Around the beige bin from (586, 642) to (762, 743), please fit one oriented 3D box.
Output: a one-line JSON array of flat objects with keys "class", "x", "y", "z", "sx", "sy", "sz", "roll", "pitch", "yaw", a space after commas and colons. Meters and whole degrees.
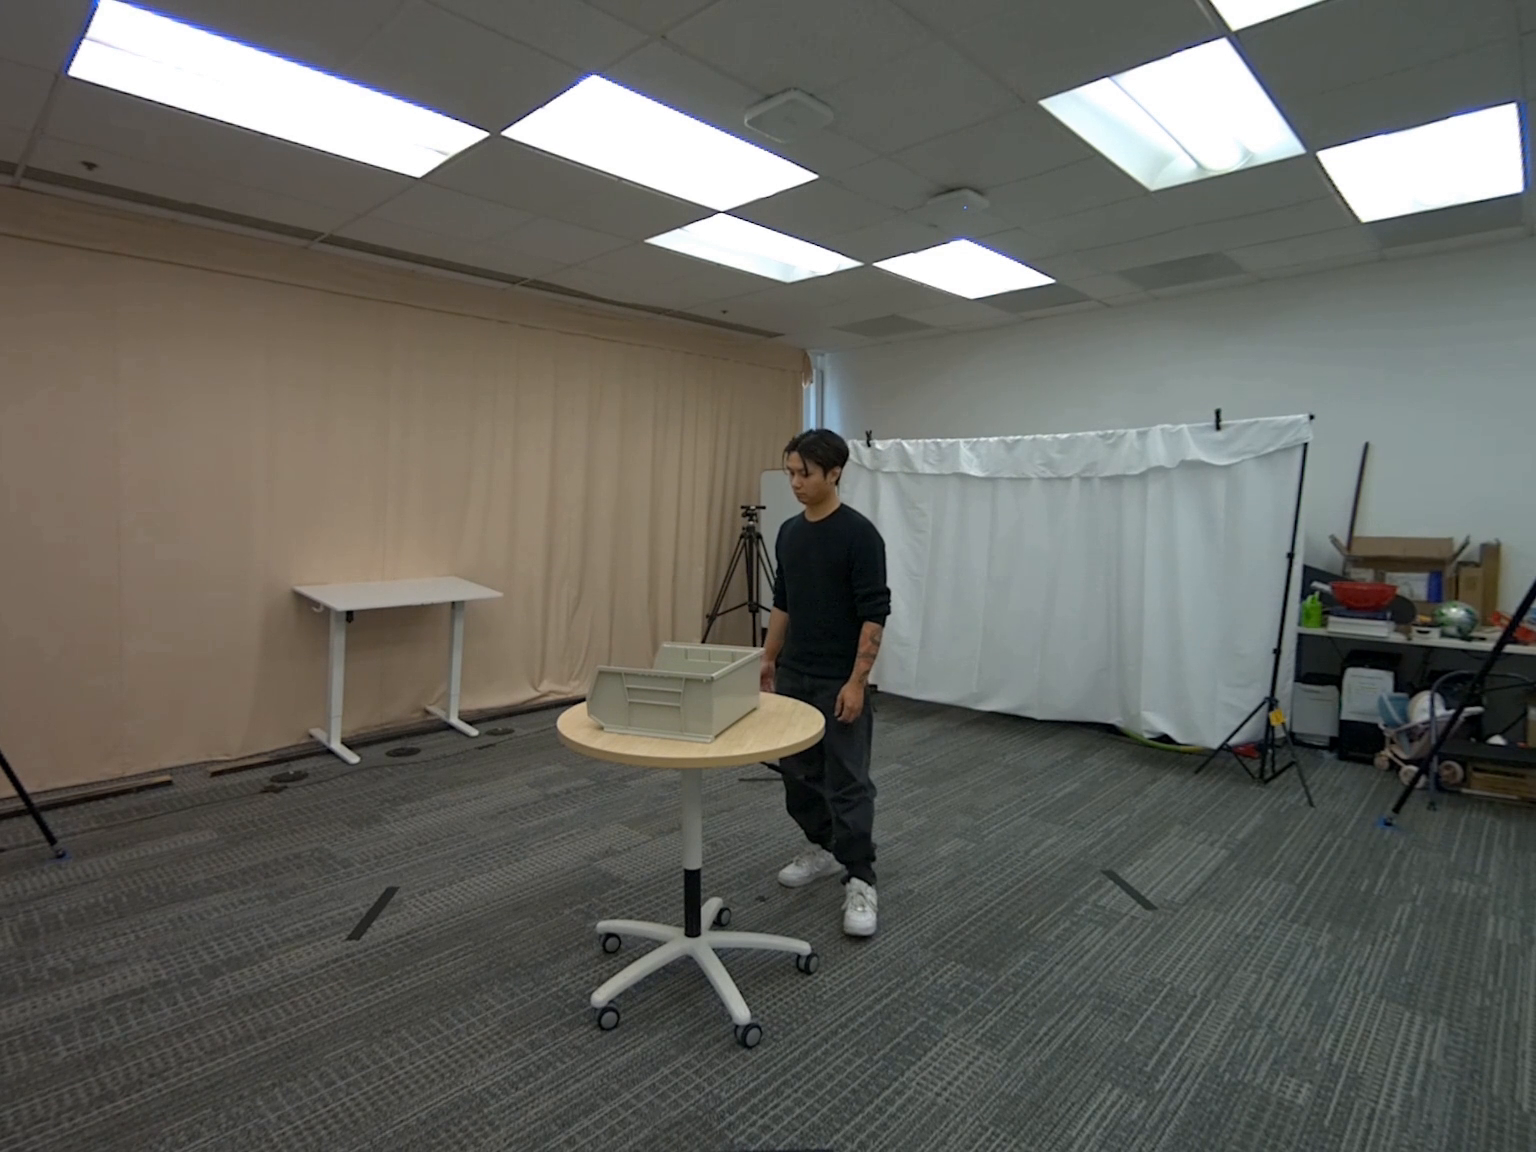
[{"class": "beige bin", "x": -0.247, "y": 0.323, "z": 2.406, "sx": 0.385, "sy": 0.188, "sz": 0.414, "roll": 2, "pitch": 5, "yaw": 19}]
